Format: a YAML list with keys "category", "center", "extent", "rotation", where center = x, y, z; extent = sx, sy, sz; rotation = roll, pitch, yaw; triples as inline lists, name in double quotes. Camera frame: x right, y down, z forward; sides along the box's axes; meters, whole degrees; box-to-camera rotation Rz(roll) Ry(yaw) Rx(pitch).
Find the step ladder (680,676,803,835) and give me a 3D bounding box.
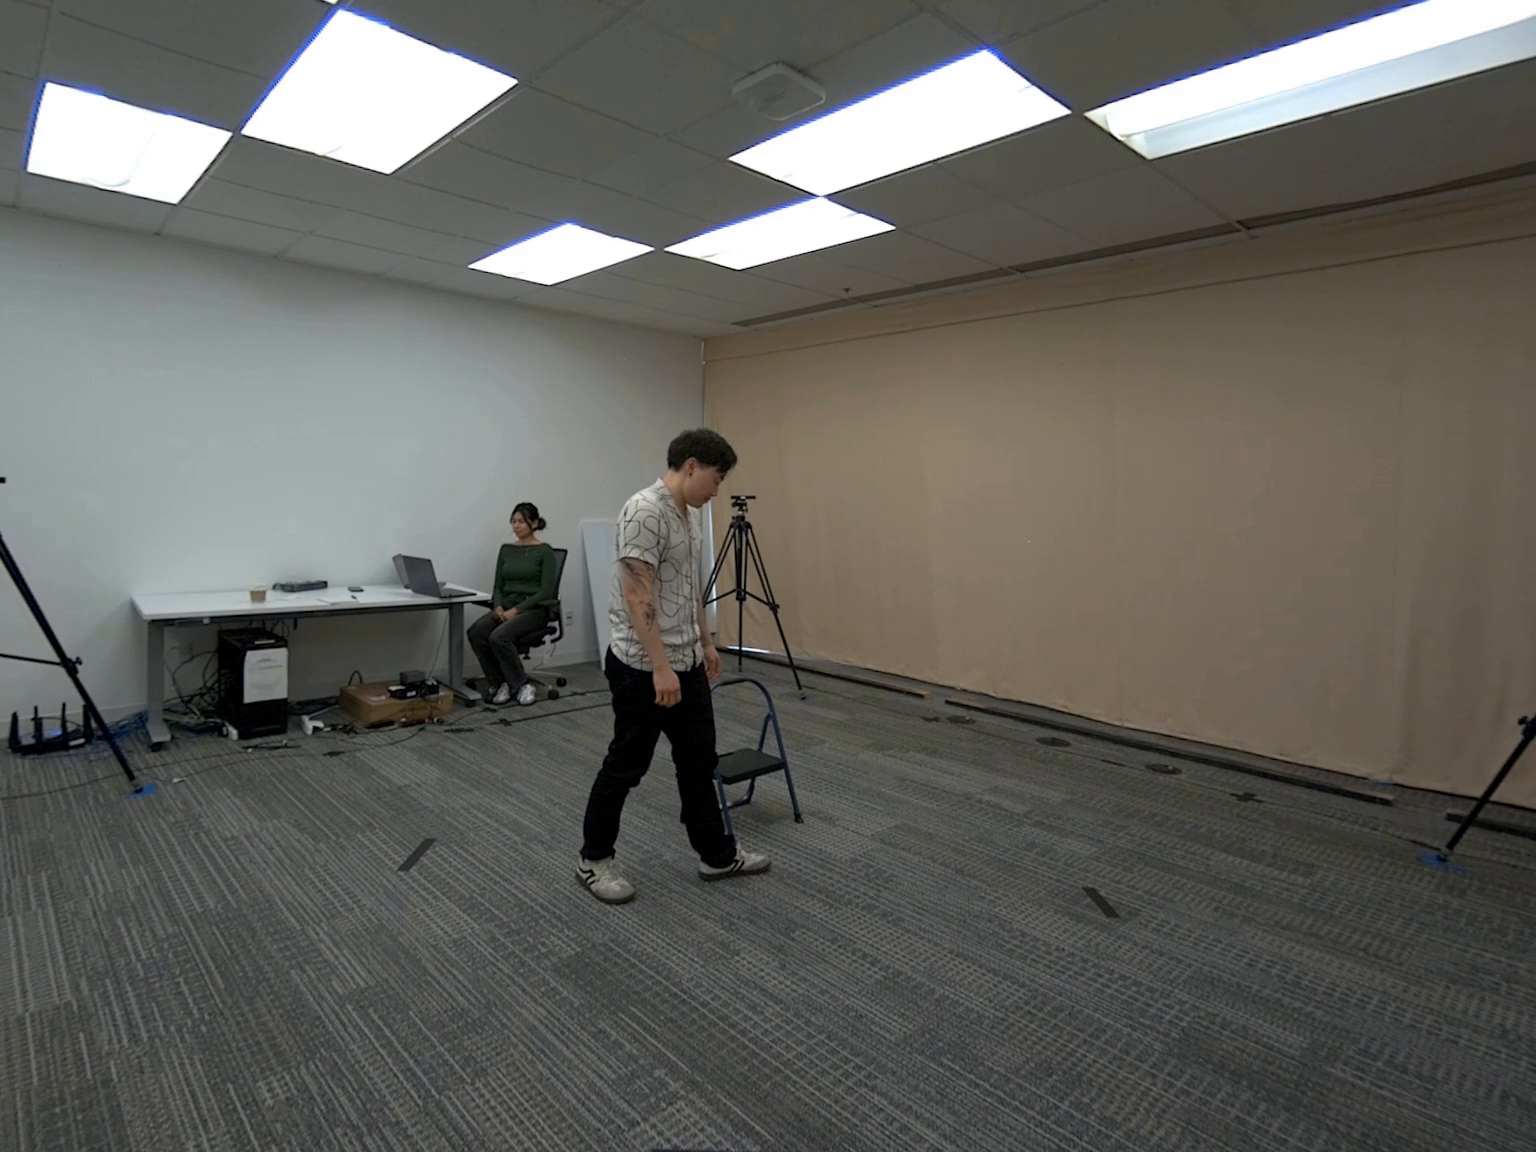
- category: "step ladder"
  center: [-0.113, 0.754, 3.599]
  extent: [0.358, 0.605, 0.421]
  rotation: [4, 4, 45]
